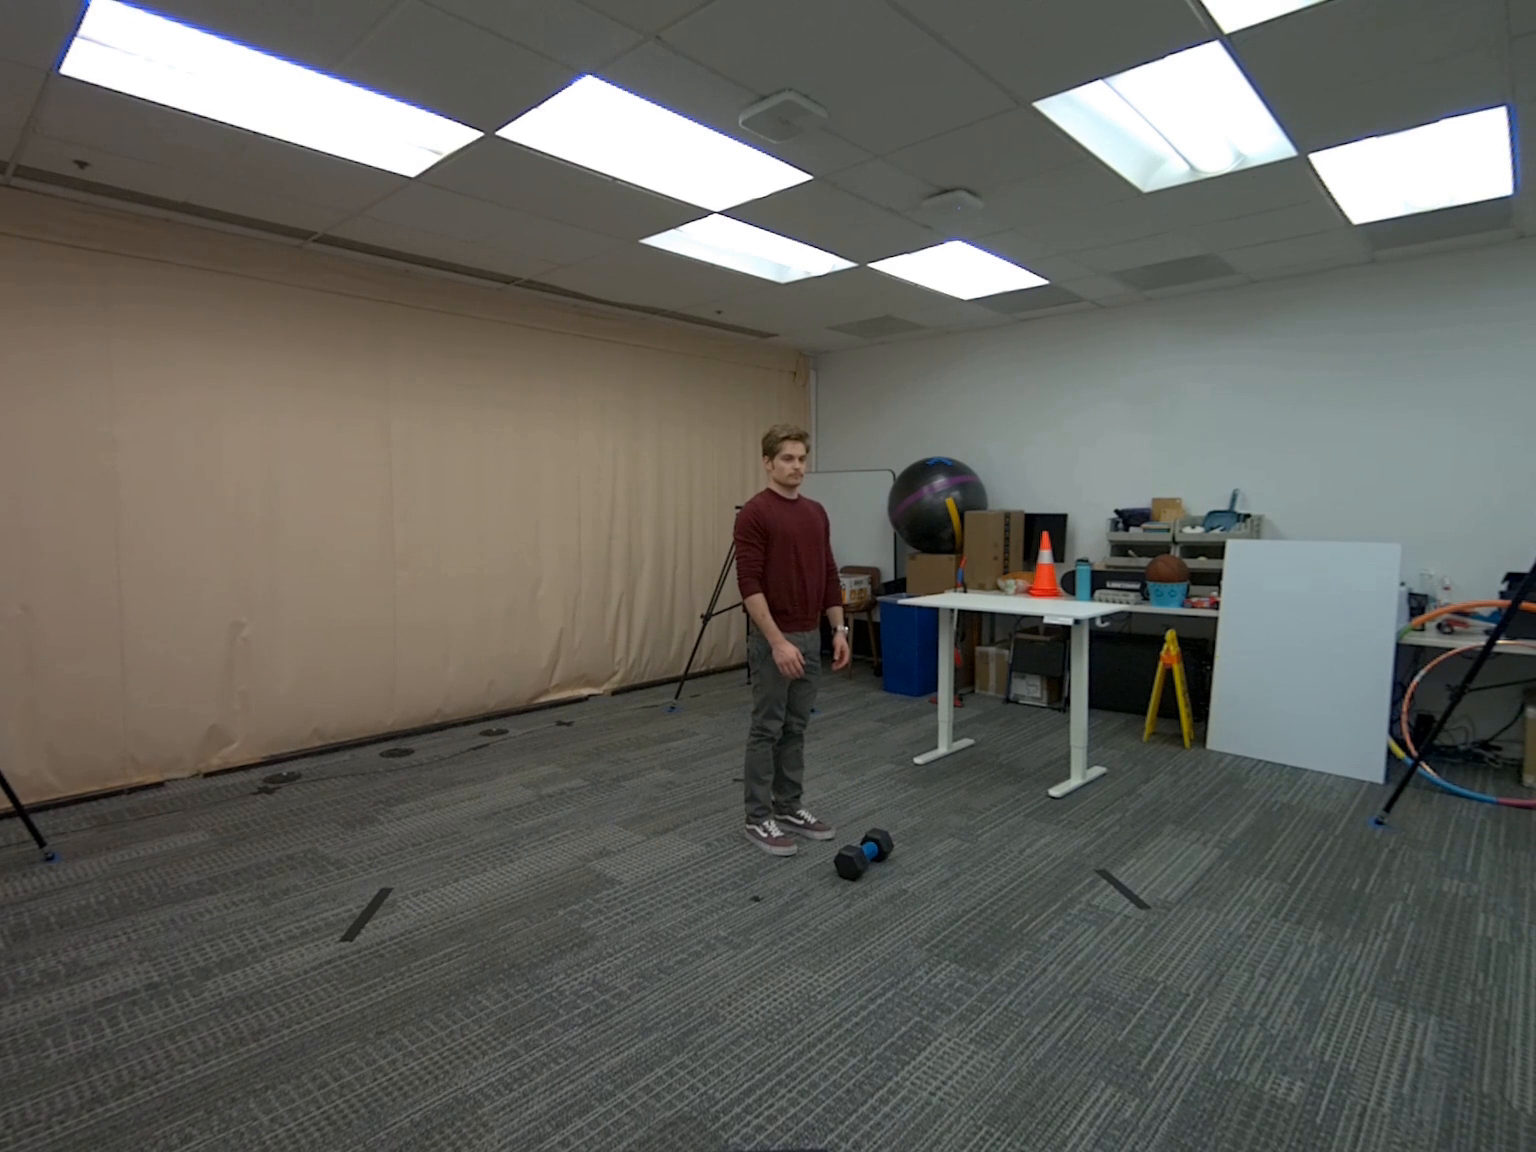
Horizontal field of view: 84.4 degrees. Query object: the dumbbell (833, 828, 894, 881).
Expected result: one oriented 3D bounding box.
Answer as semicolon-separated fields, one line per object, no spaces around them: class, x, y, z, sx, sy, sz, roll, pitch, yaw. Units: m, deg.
dumbbell;0.374;1.067;3.237;0.110;0.125;0.285;-32;-15;33
